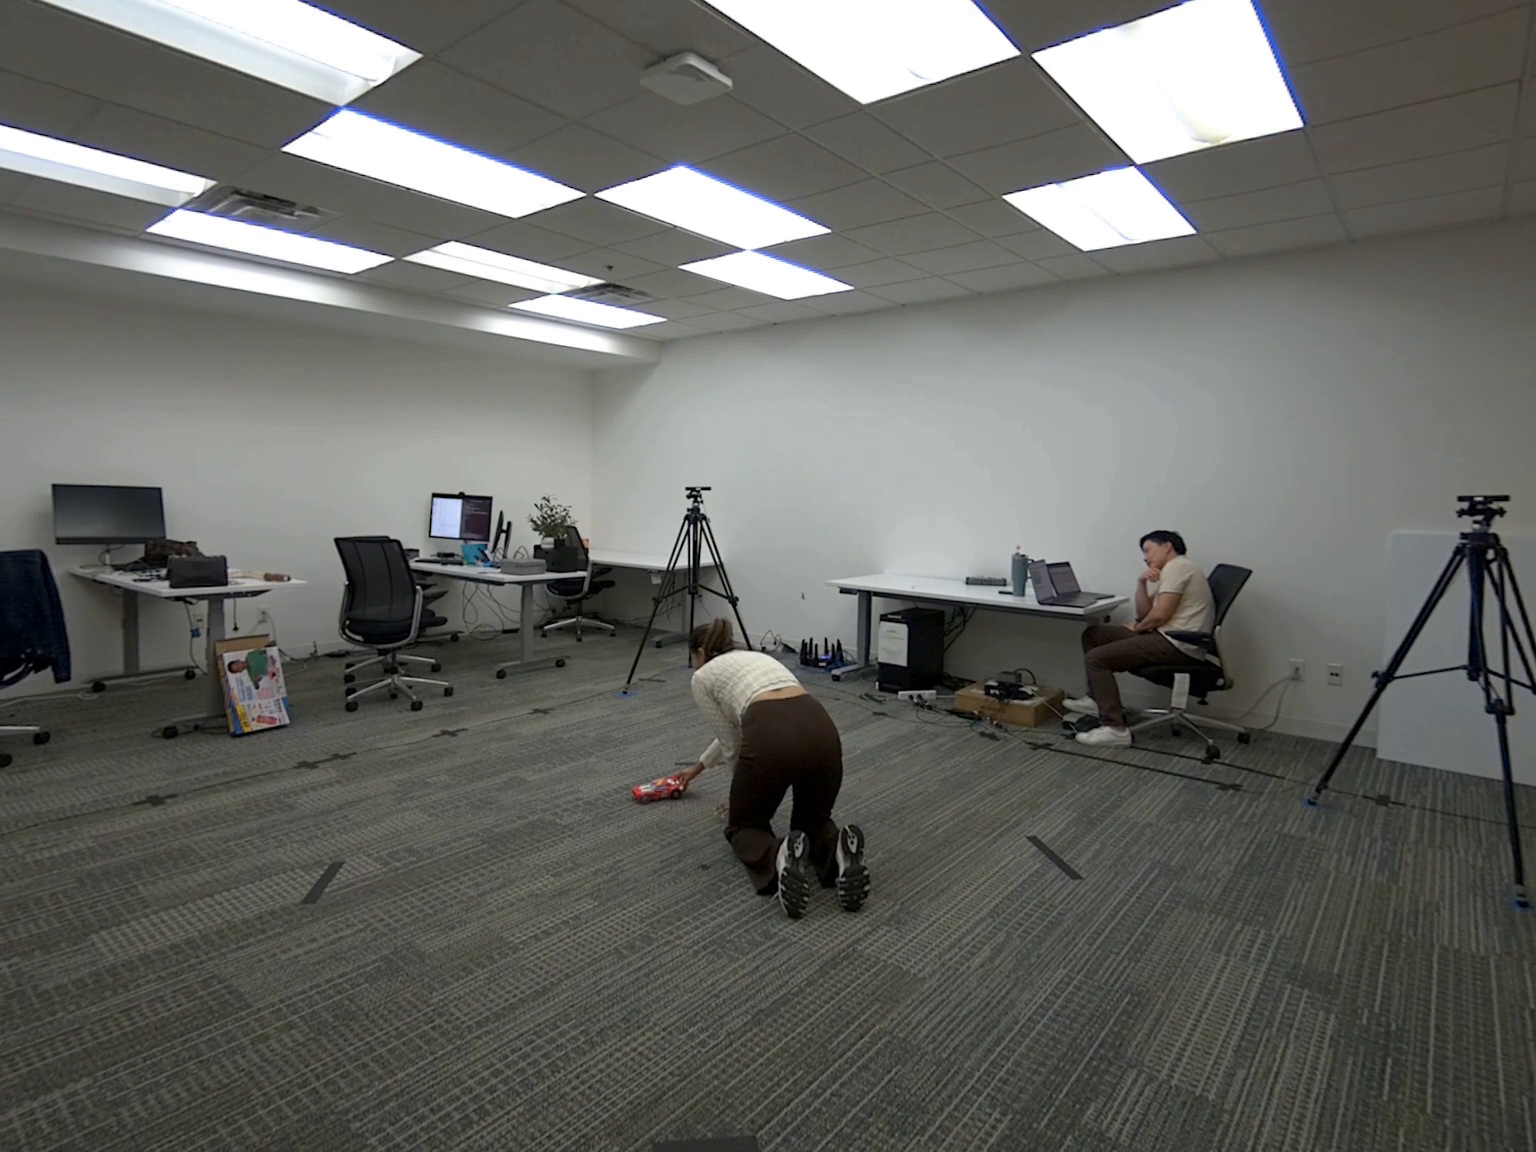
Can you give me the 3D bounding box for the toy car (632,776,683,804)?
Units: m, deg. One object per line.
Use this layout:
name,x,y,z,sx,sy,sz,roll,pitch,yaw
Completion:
toy car,-0.488,0.959,3.822,0.250,0.082,0.134,-14,12,-24
